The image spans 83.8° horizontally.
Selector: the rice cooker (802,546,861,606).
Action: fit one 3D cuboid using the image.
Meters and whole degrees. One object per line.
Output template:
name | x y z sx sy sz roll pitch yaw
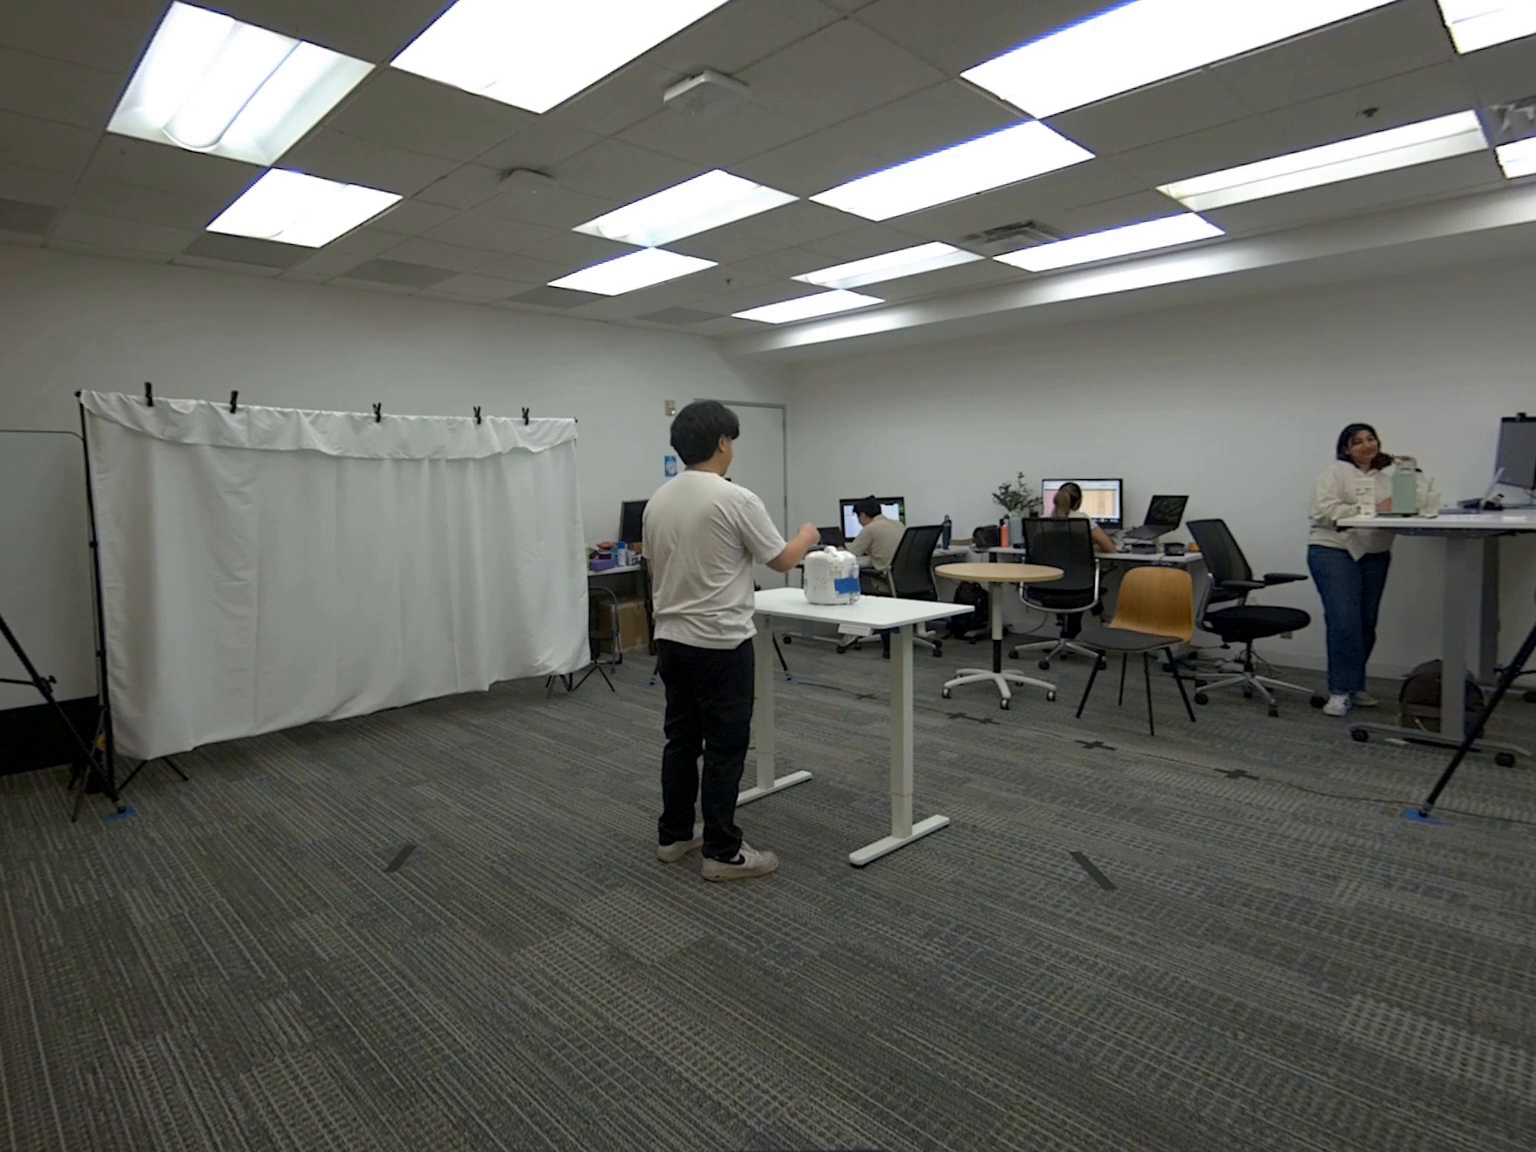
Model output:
rice cooker | 0.261 -0.006 3.491 0.217 0.232 0.222 -1 3 -4
